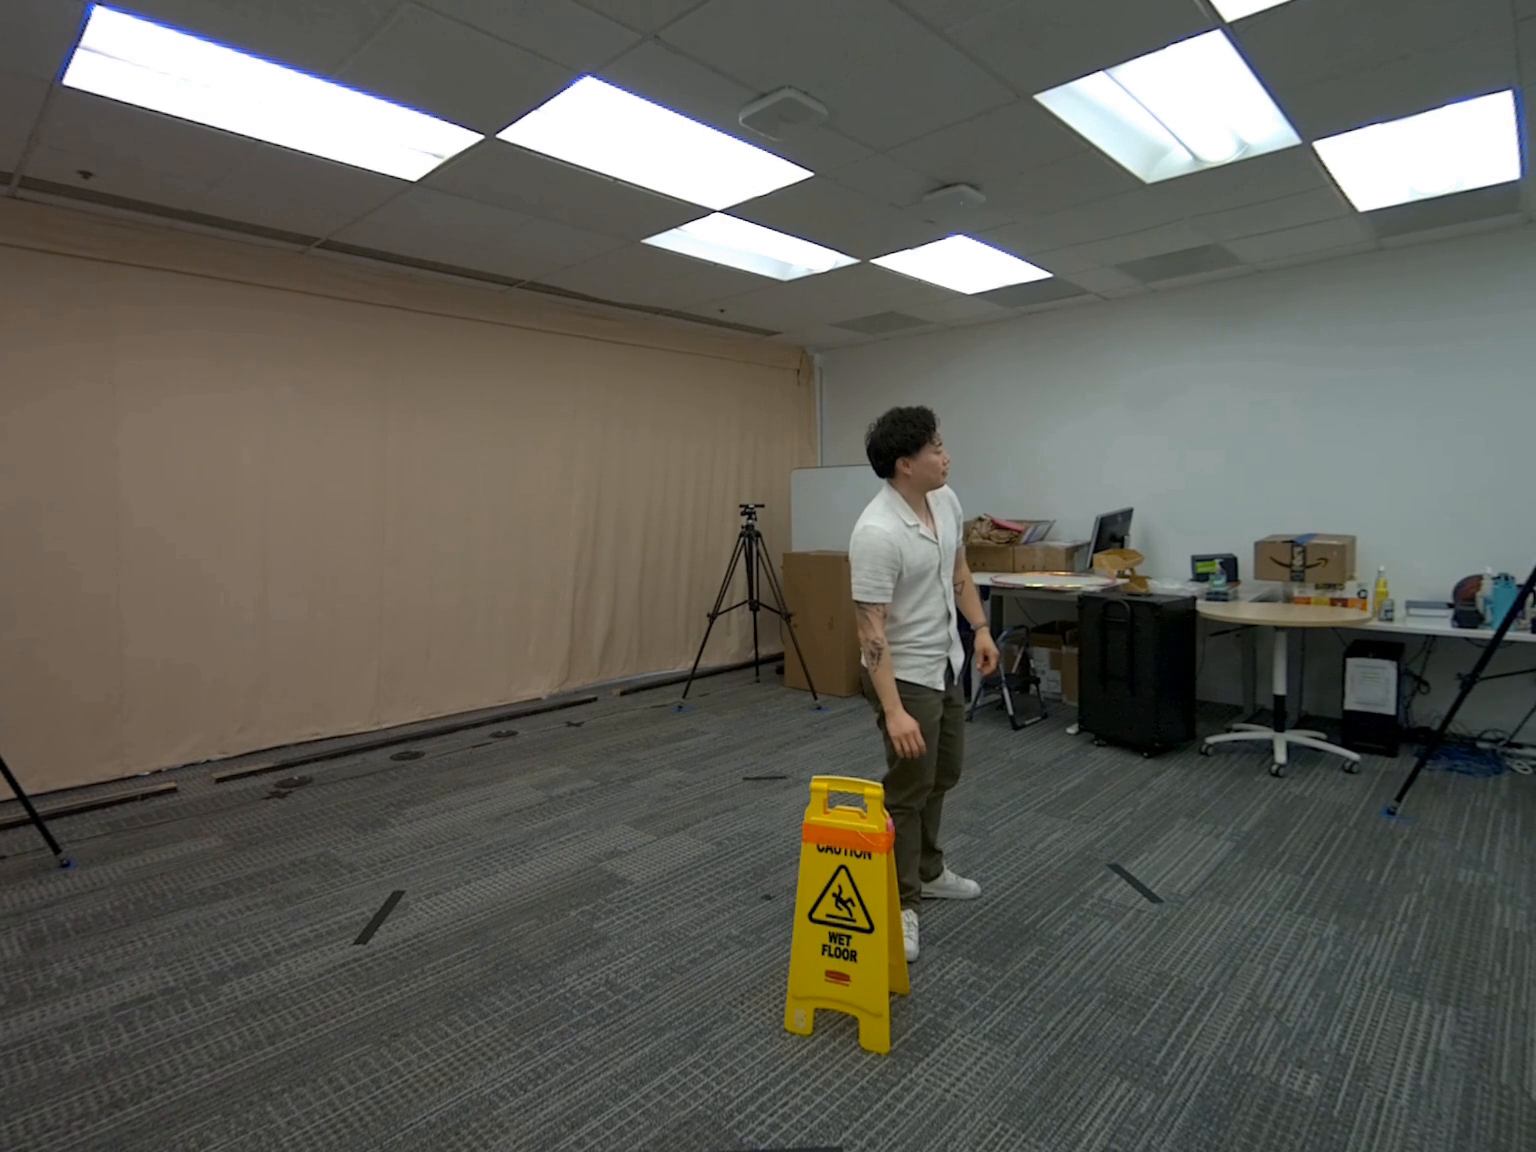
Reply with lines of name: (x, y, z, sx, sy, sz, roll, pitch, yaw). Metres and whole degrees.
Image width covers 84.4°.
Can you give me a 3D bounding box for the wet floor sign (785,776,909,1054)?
wet floor sign: (0.226, 0.875, 2.290, 0.289, 0.645, 0.284, 2, 3, 22)
